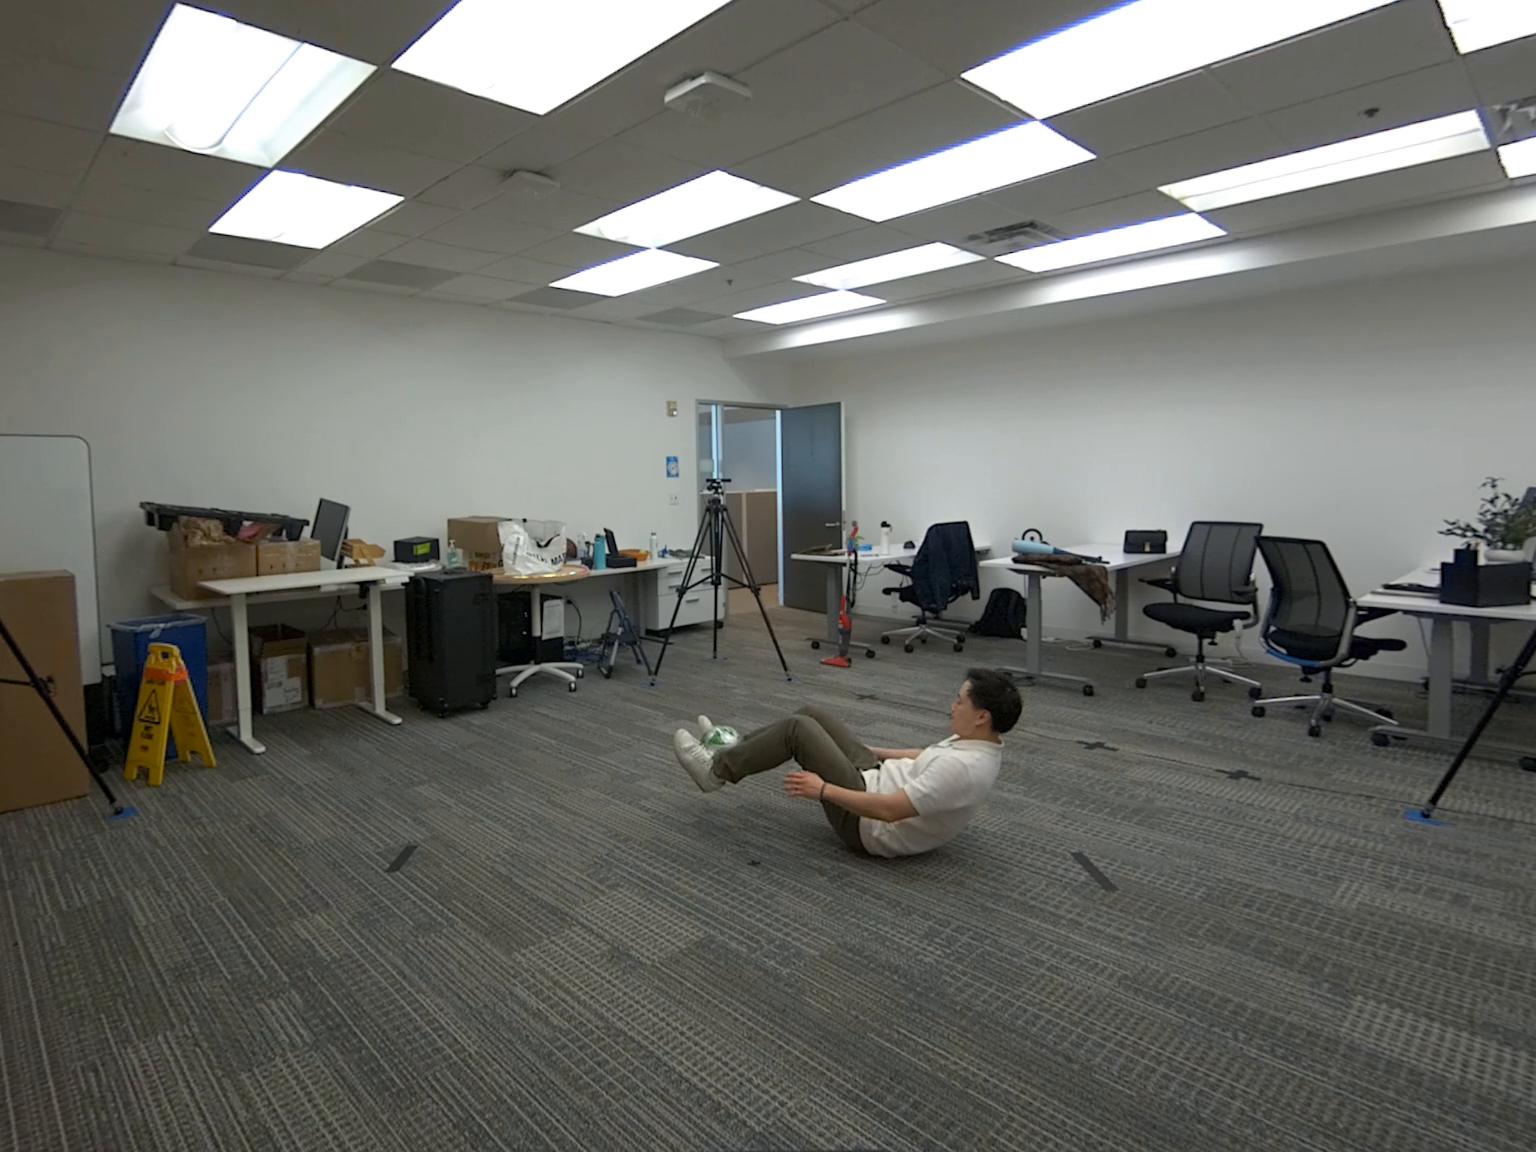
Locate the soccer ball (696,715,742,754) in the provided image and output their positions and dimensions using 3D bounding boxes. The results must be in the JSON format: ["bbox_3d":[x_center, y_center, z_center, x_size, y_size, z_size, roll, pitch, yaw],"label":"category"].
[{"bbox_3d":[-0.179,0.709,3.507,0.187,0.187,0.188,-1,5,-2],"label":"soccer ball"}]
